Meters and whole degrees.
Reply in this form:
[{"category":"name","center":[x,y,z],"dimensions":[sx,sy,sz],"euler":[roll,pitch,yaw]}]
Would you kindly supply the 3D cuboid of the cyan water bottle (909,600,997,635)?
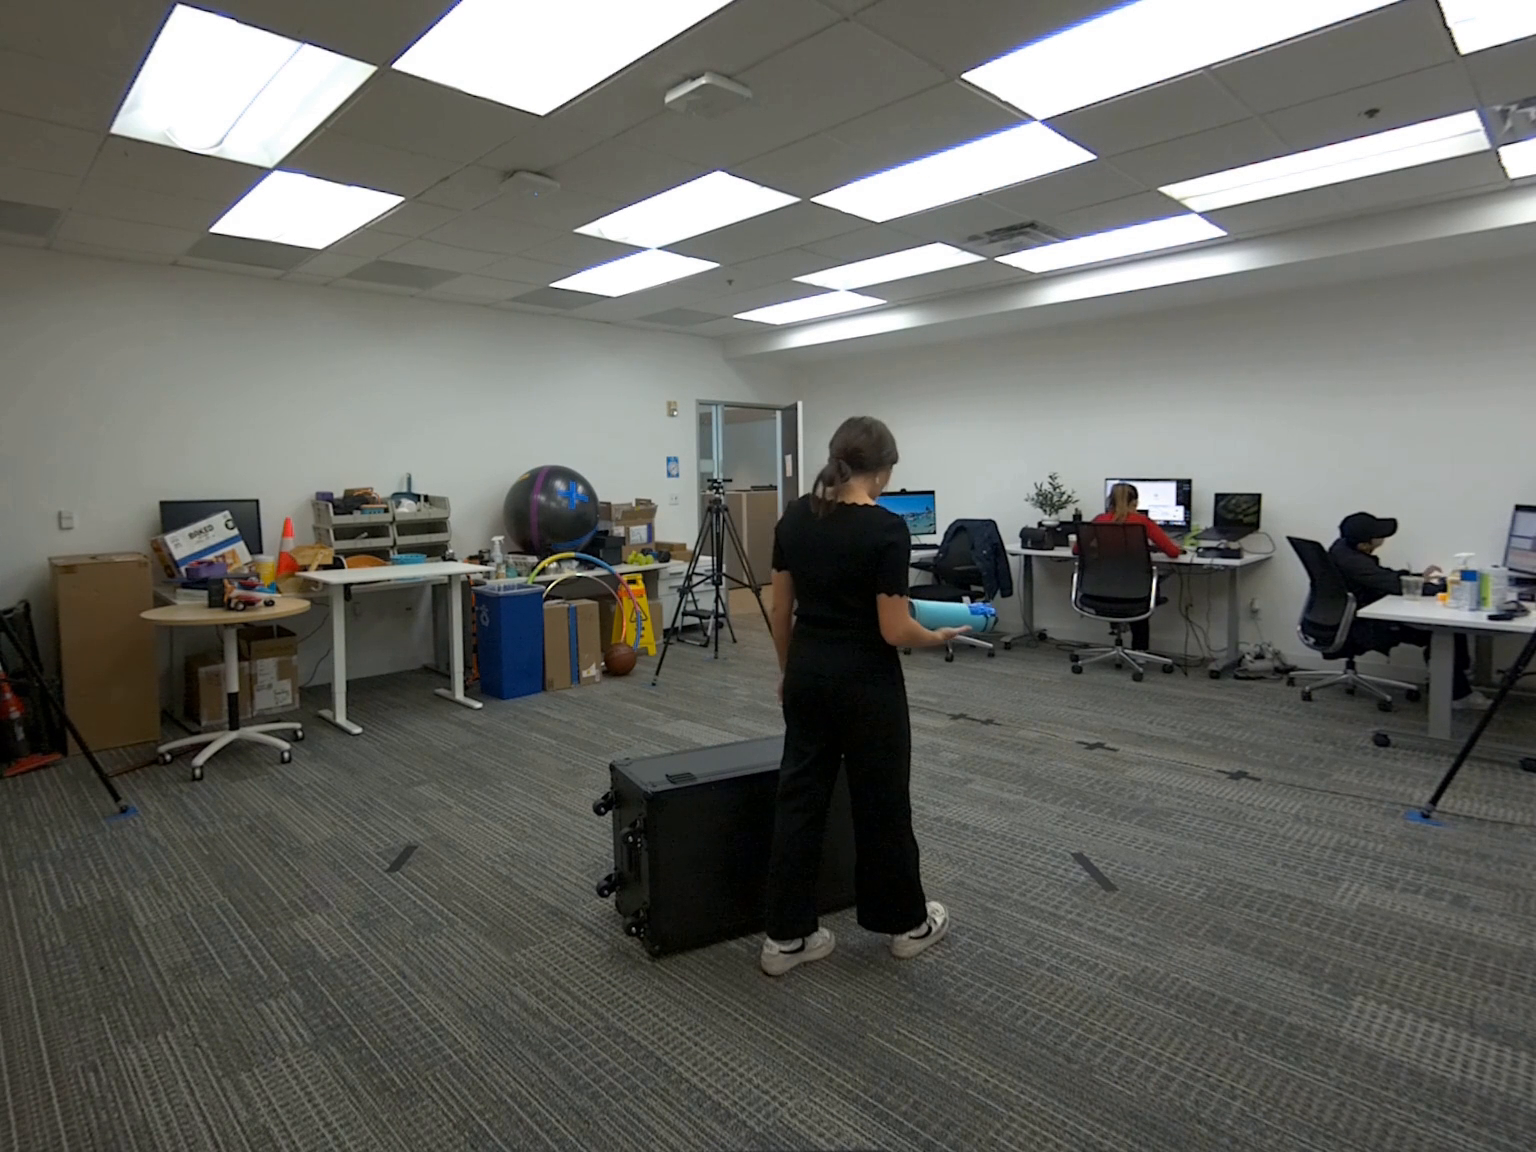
[{"category":"cyan water bottle","center":[0.548,0.123,2.490],"dimensions":[0.279,0.092,0.094],"euler":[1,4,-14]}]
